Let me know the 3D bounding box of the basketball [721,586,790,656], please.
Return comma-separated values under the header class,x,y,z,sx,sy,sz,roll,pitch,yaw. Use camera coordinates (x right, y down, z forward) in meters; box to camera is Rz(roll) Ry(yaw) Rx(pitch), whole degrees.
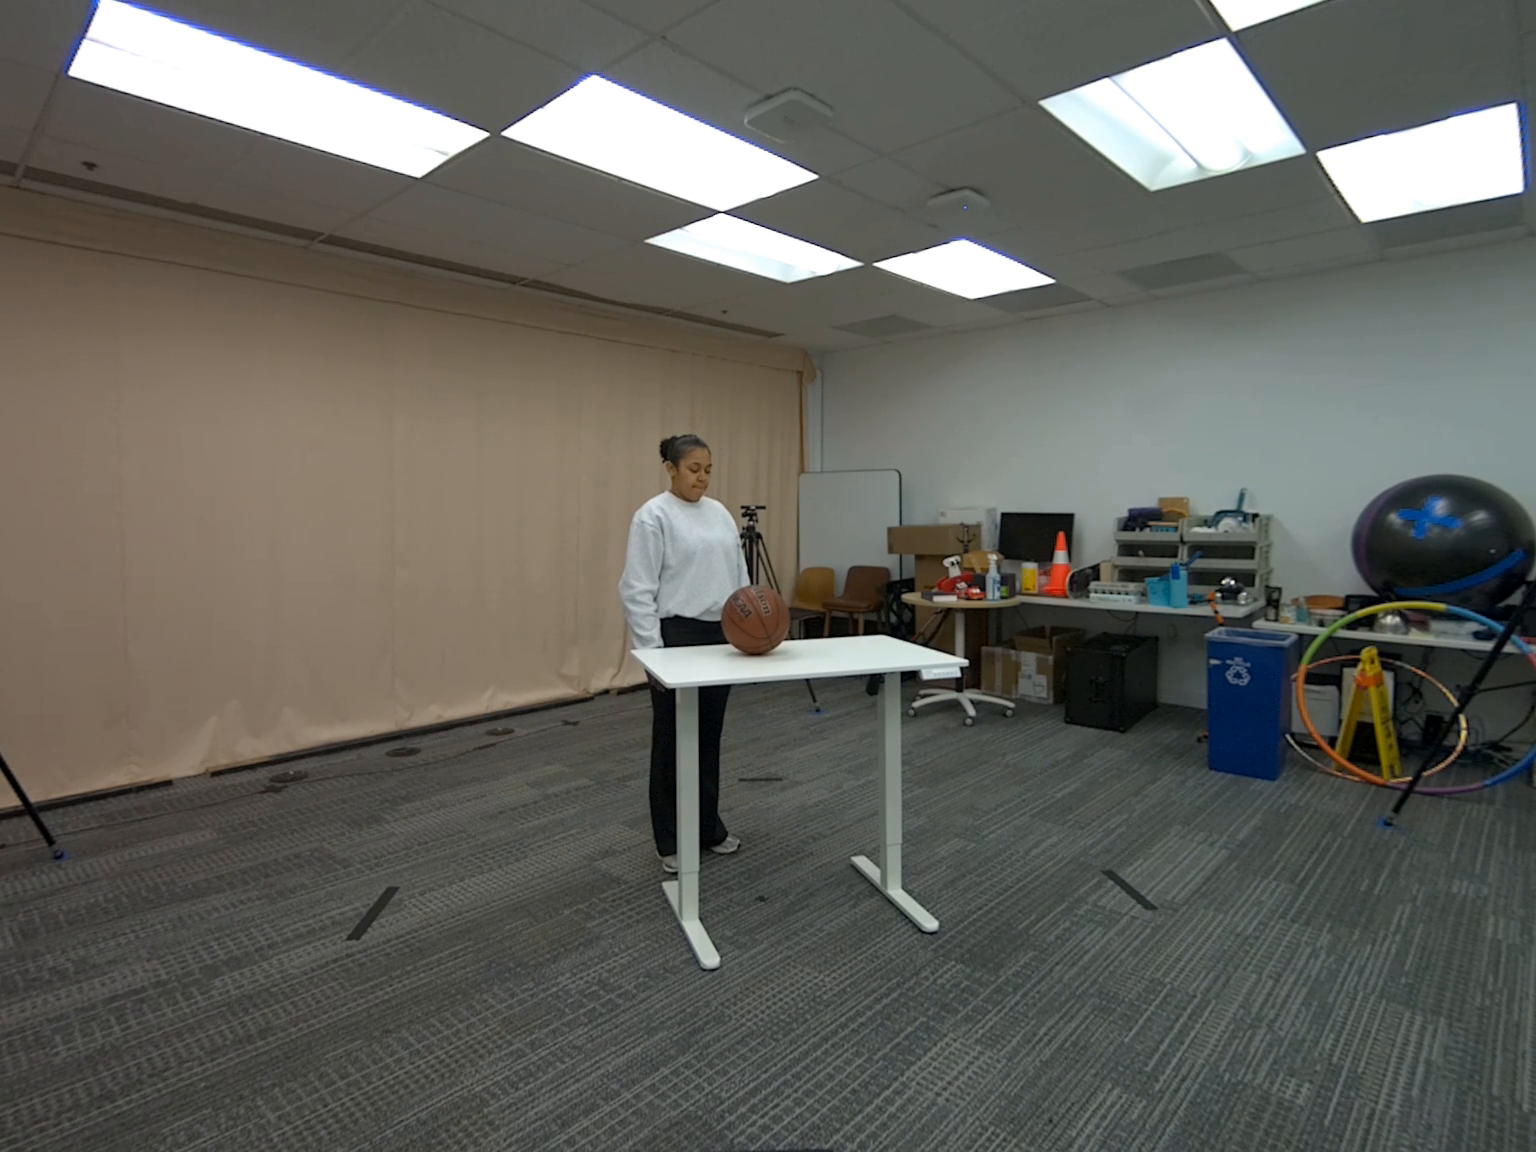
class,x,y,z,sx,sy,sz,roll,pitch,yaw
basketball,-0.037,0.151,2.900,0.236,0.235,0.237,0,4,-2
